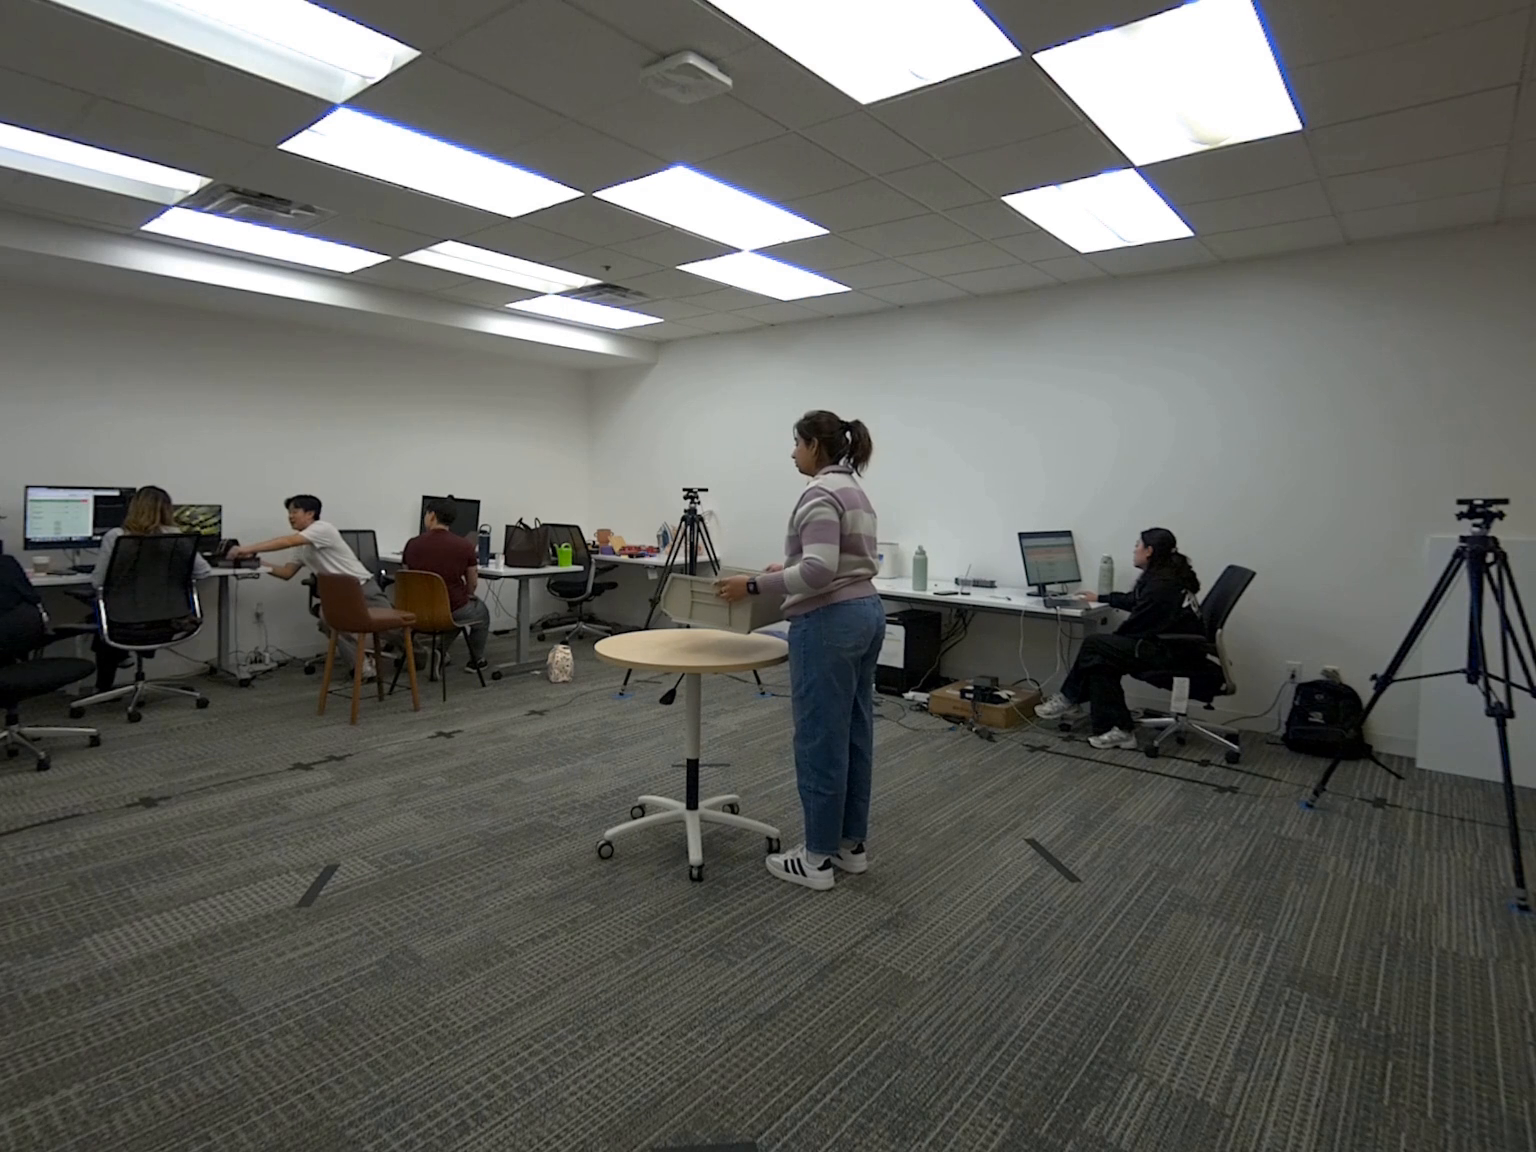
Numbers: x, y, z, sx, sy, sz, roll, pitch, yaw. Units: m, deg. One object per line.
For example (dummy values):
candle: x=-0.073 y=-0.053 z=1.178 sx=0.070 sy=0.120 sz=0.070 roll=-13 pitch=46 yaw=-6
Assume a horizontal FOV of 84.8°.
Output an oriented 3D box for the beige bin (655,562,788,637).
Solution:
beige bin: x=-0.160 y=0.078 z=3.272 sx=0.388 sy=0.188 sz=0.413 roll=9 pitch=7 yaw=25
